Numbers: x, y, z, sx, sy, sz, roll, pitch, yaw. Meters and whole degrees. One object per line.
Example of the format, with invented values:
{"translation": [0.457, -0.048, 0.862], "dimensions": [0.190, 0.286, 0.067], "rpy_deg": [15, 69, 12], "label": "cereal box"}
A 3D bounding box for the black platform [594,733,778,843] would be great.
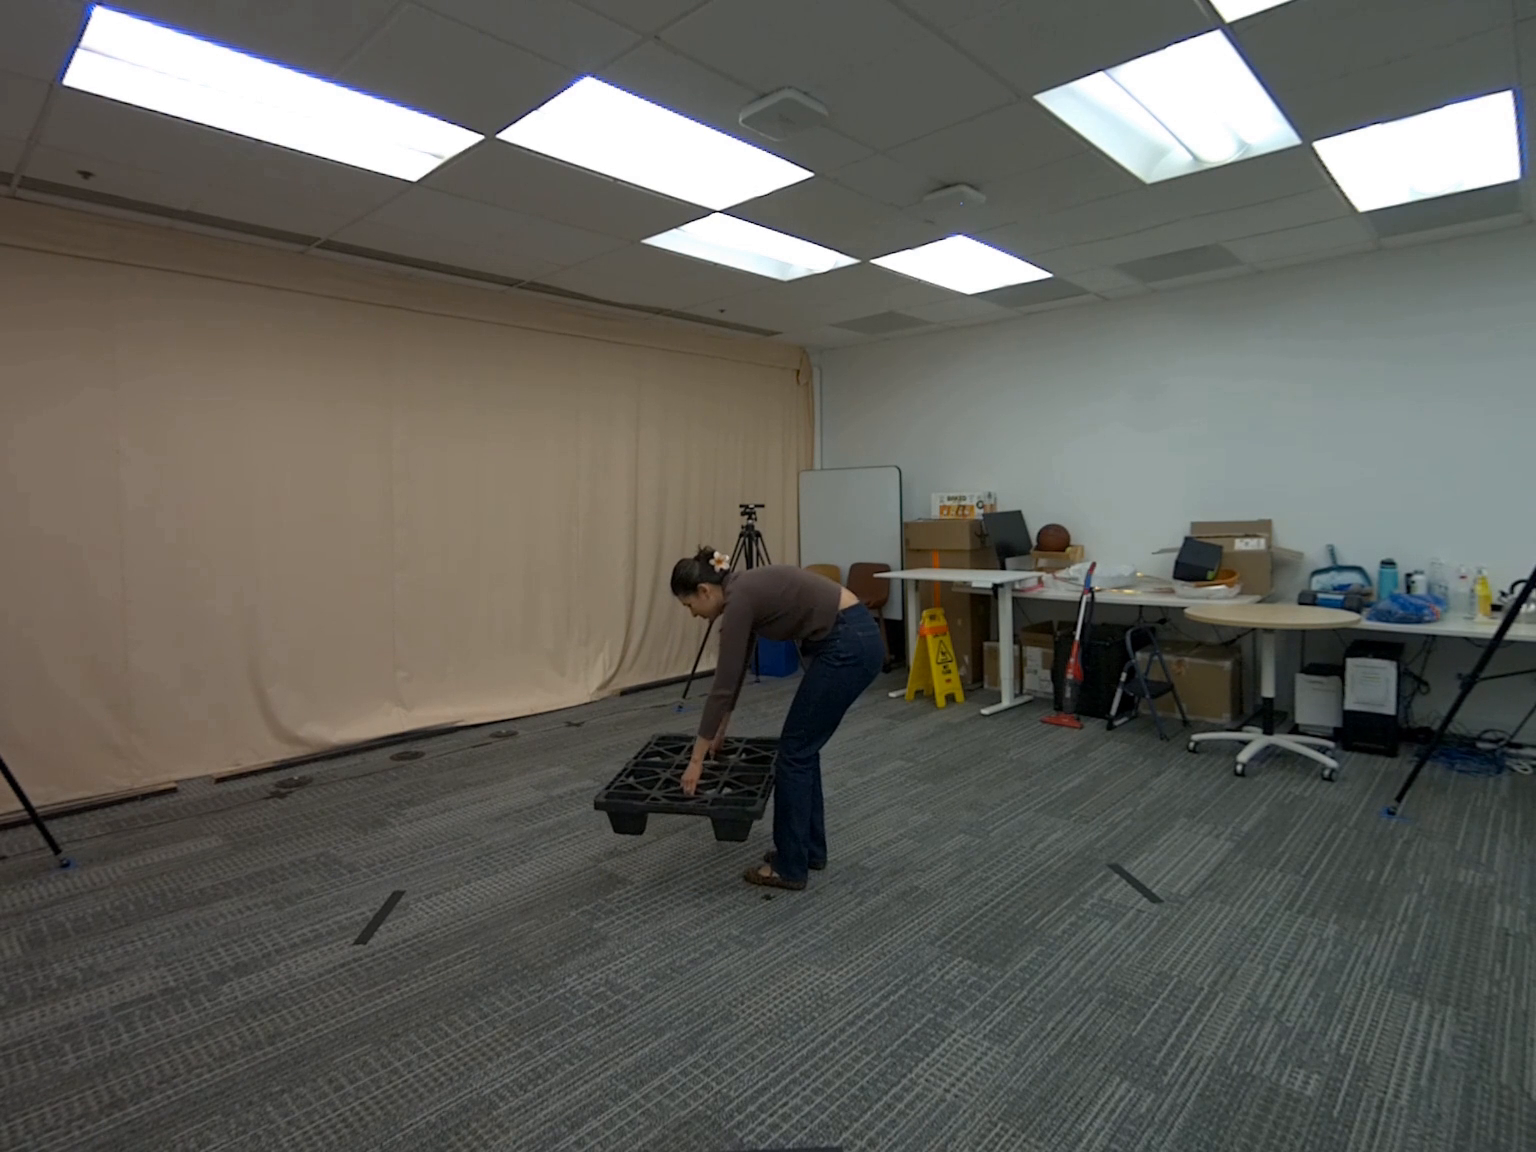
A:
{"translation": [-0.253, 0.802, 3.264], "dimensions": [0.612, 0.143, 0.799], "rpy_deg": [0, 7, 10], "label": "black platform"}
